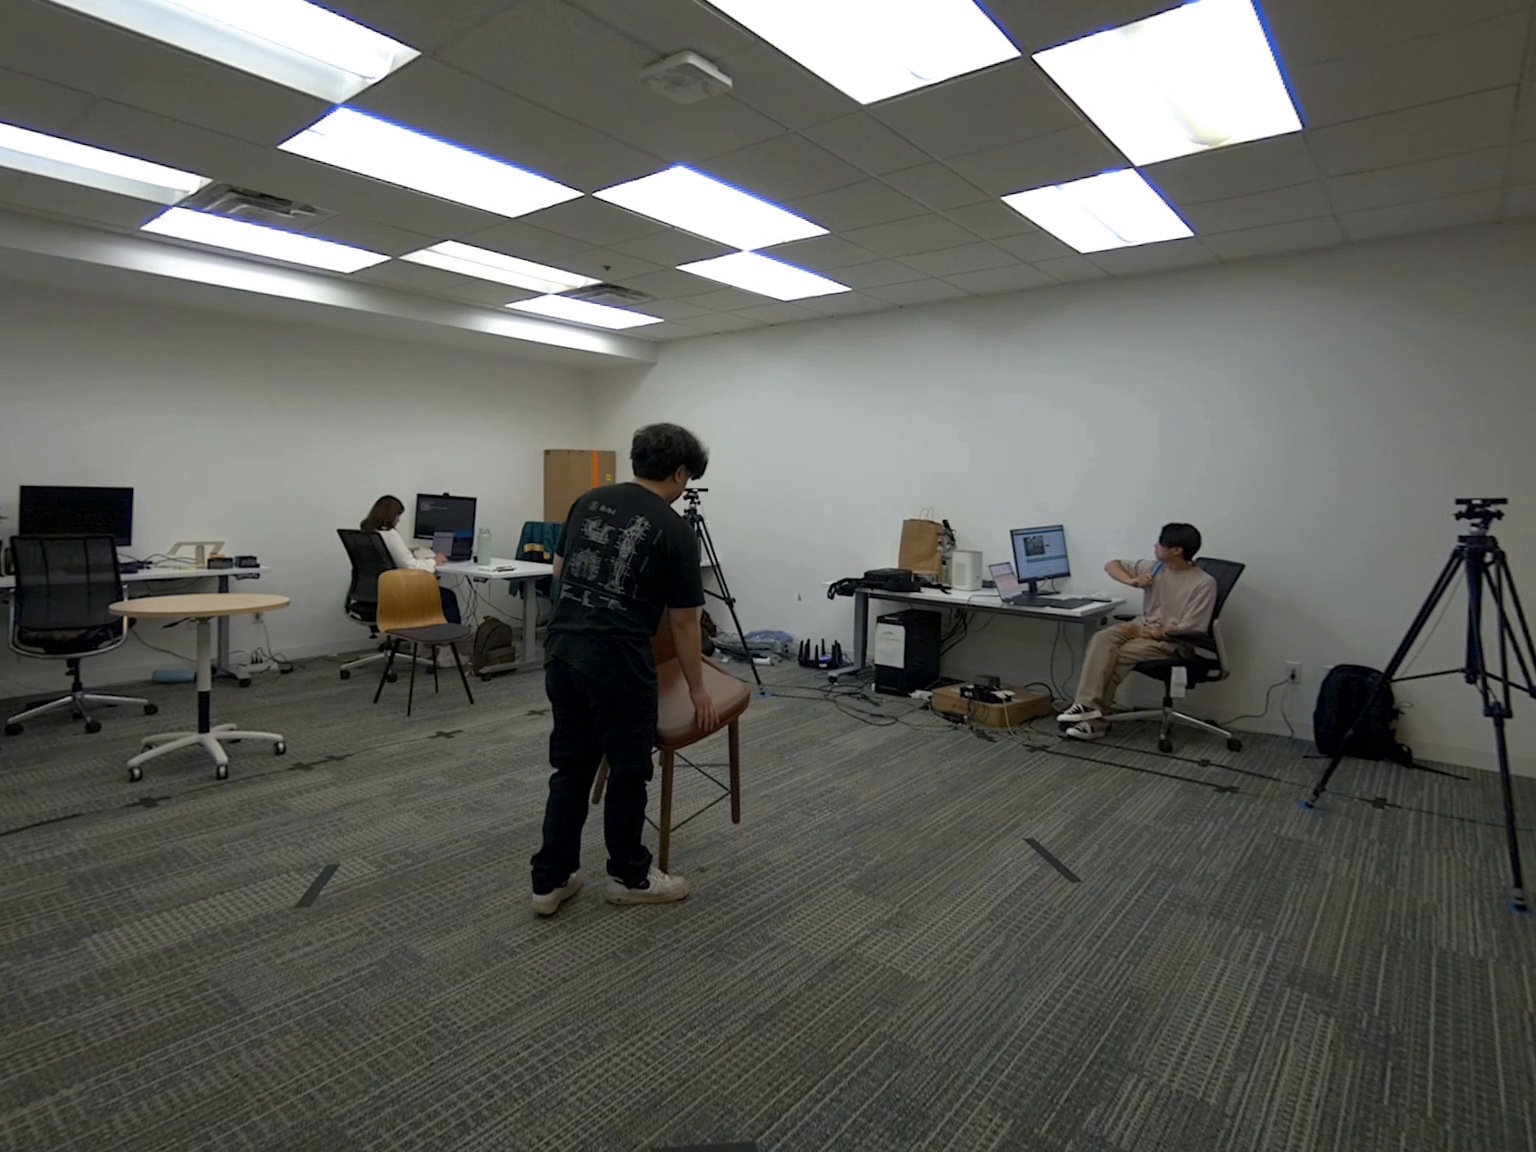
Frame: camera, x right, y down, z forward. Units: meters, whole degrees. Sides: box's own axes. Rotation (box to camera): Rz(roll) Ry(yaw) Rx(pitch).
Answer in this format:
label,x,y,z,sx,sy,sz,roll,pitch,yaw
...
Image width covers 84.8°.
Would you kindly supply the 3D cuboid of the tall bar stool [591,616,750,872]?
label,x,y,z,sx,sy,sz,roll,pitch,yaw
tall bar stool,-0.369,0.545,3.148,0.486,0.872,0.447,27,32,37
